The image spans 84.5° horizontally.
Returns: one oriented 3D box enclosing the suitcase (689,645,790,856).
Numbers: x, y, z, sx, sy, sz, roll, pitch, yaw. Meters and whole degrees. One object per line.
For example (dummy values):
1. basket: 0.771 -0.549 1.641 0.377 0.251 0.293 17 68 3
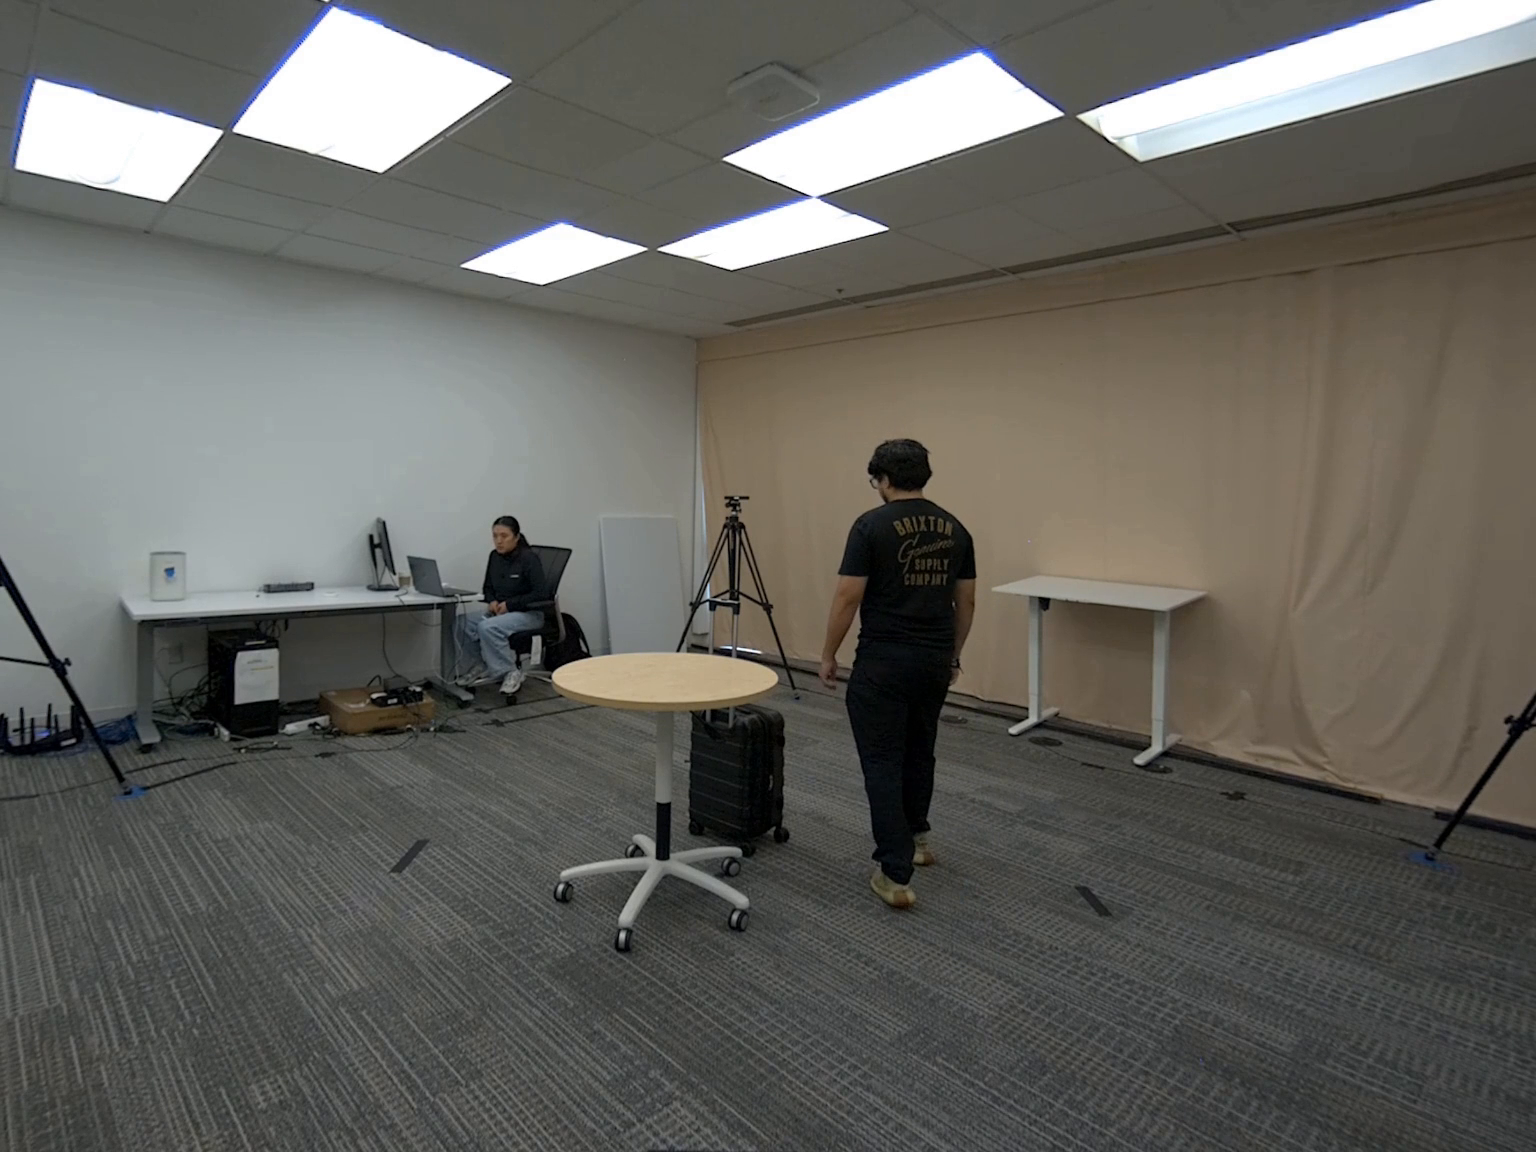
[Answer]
1. suitcase: -0.126 0.591 3.455 0.393 0.978 0.251 3 2 42
